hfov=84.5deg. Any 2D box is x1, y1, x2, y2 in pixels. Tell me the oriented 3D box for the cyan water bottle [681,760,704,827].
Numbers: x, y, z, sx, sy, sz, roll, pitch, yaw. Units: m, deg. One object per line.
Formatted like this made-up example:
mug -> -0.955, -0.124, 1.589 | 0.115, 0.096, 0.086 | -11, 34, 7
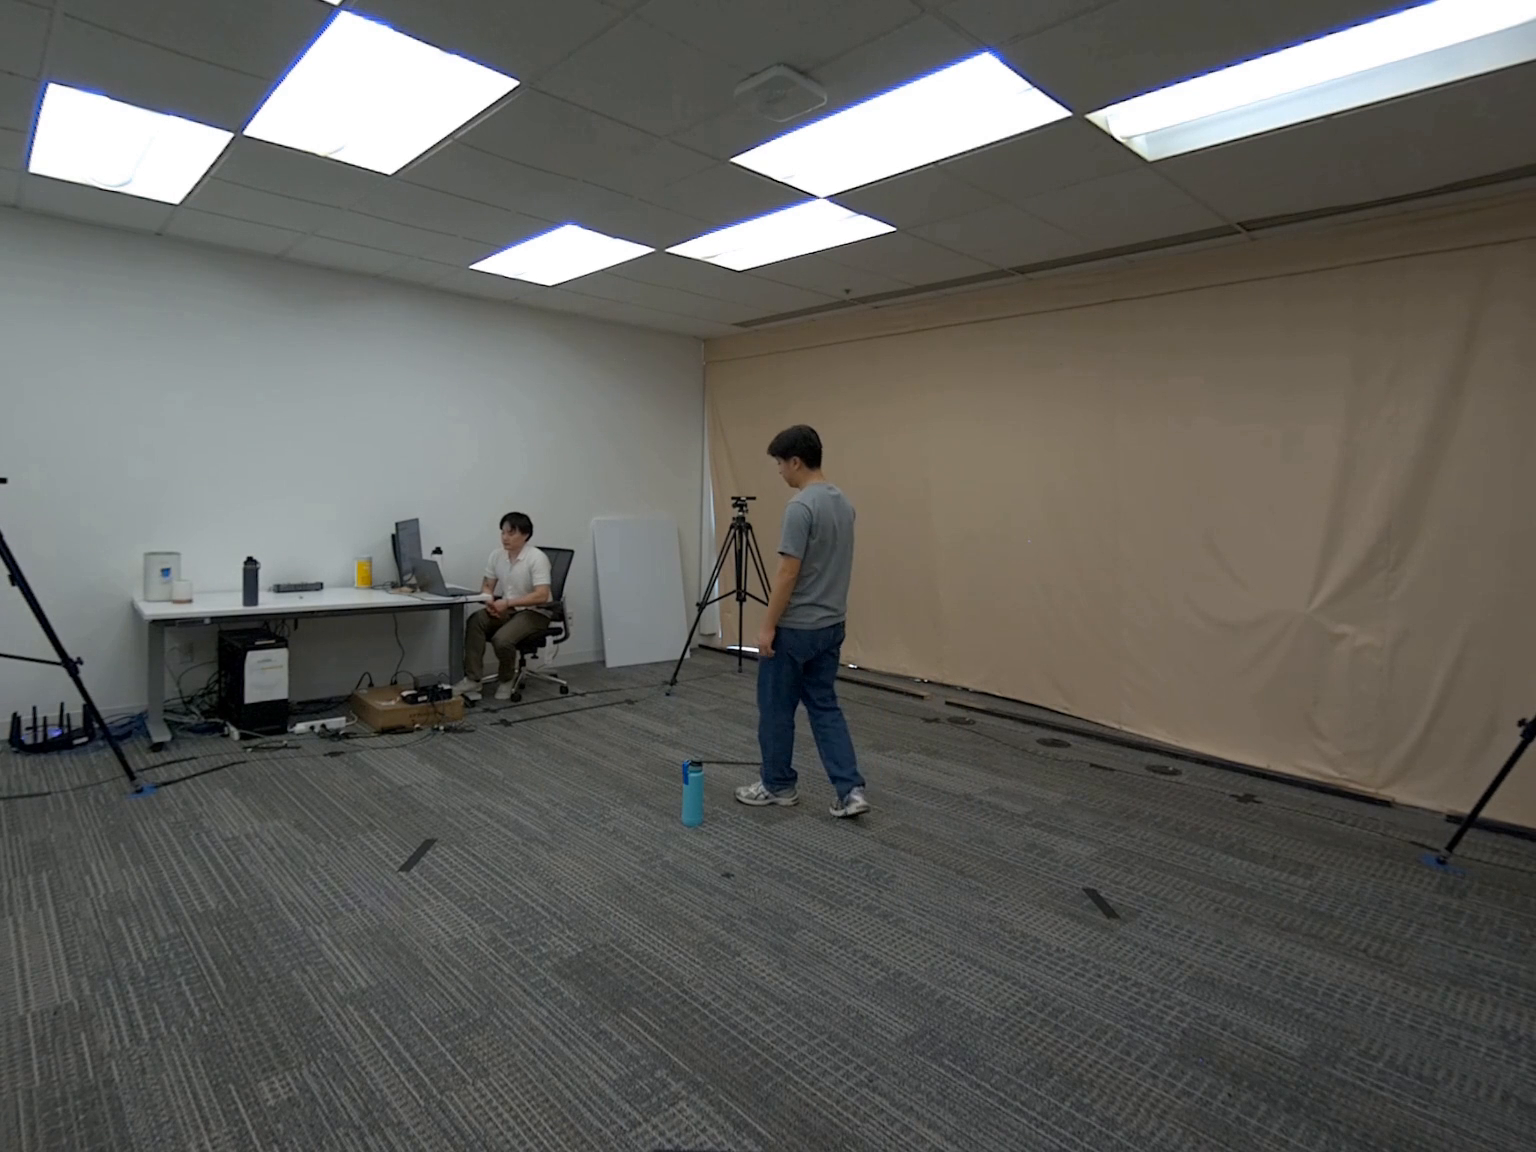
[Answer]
cyan water bottle -> -0.332, 0.918, 3.603 | 0.092, 0.283, 0.092 | 1, 4, -1
